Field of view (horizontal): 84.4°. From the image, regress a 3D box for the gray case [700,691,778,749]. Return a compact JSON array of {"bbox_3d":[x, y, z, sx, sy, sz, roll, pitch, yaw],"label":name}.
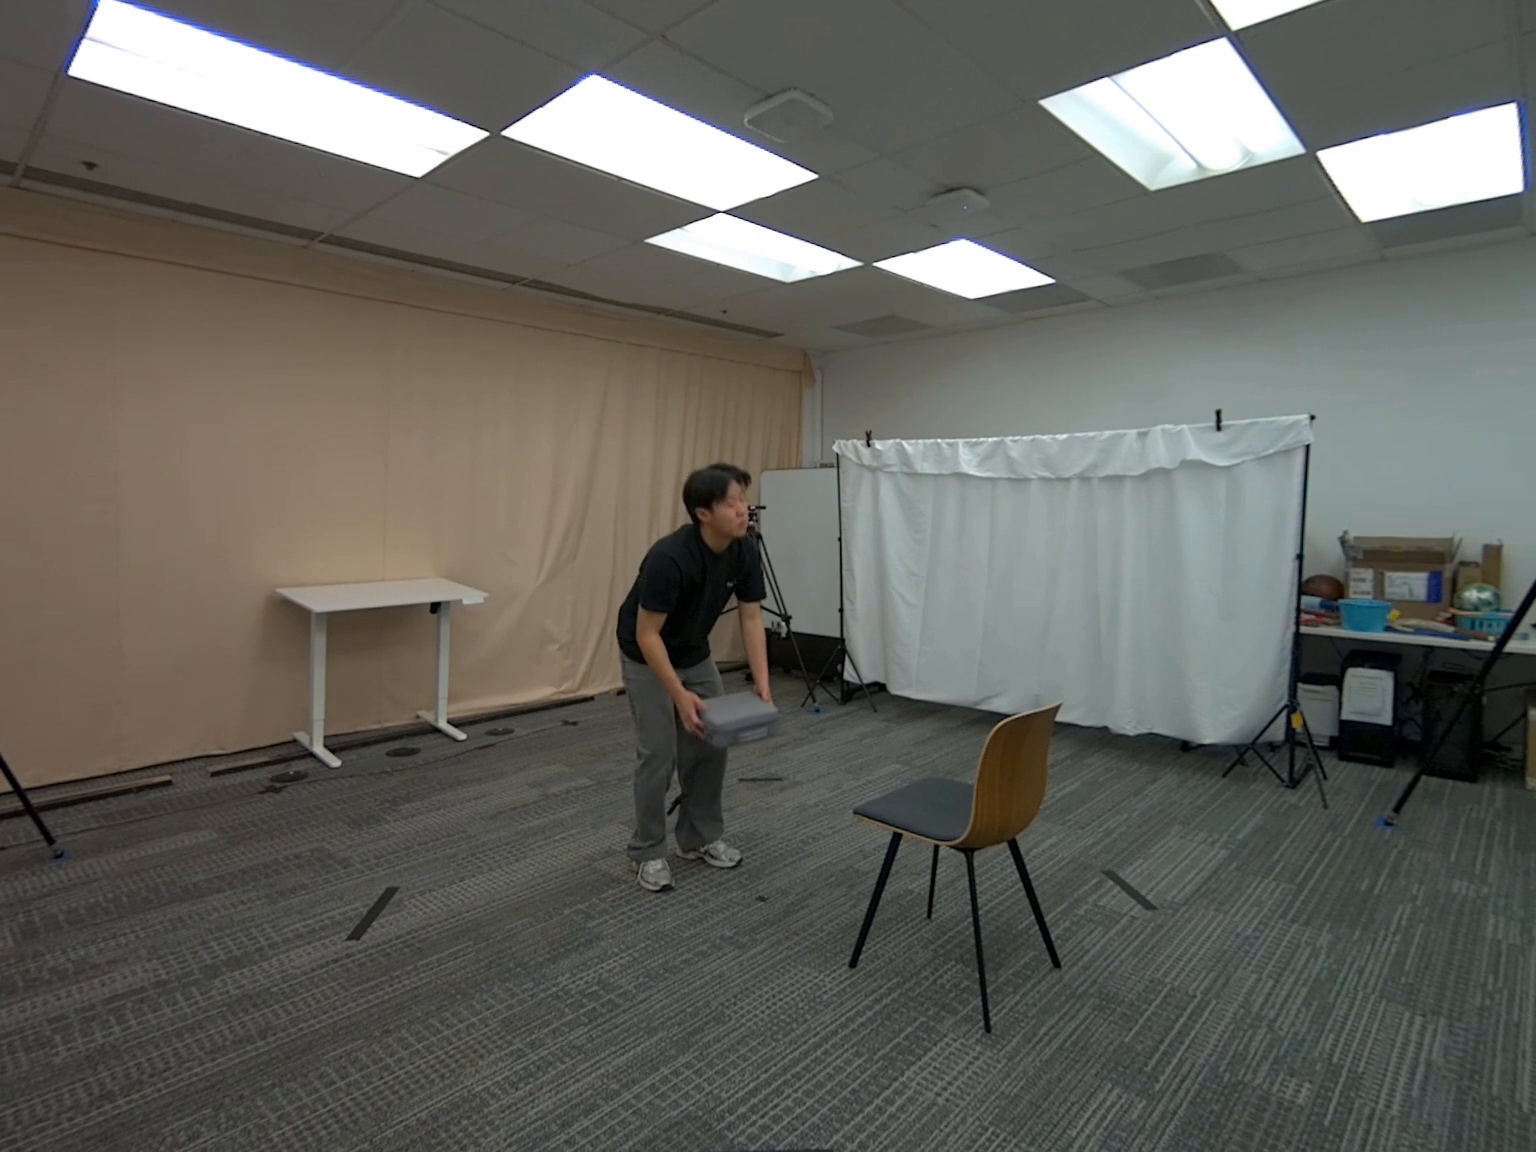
[{"bbox_3d":[-0.113,0.508,2.948,0.258,0.102,0.295,-8,12,-23],"label":"gray case"}]
